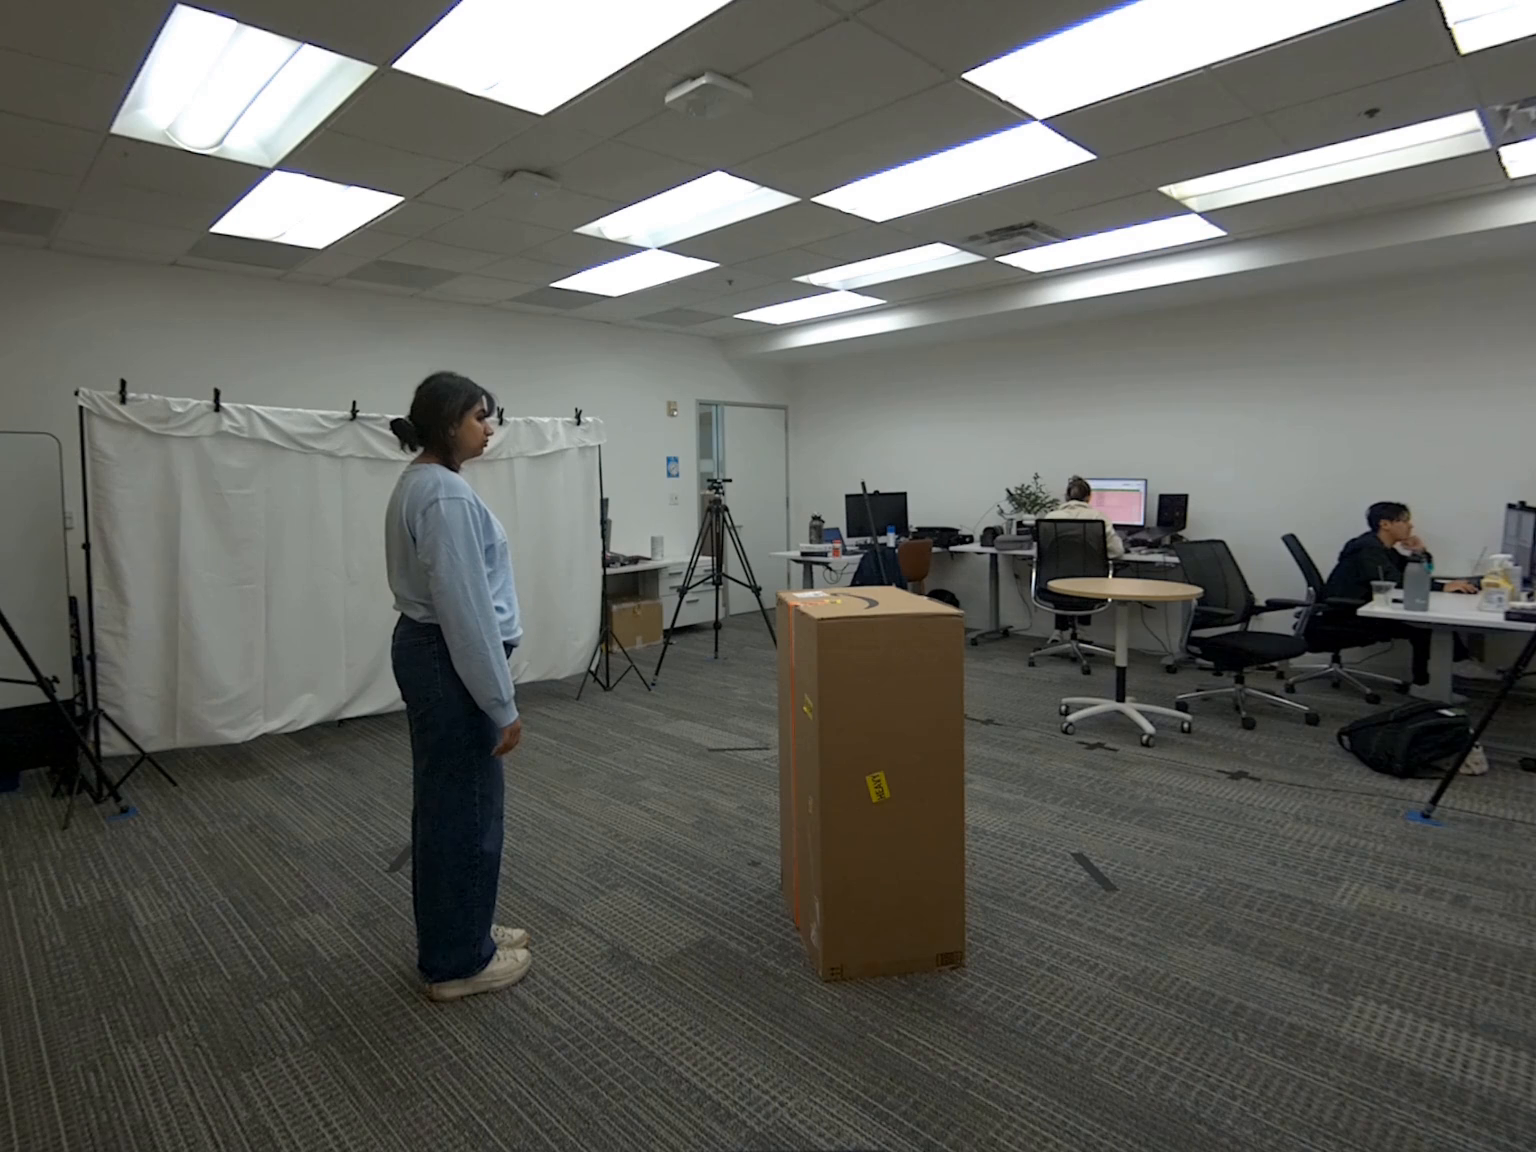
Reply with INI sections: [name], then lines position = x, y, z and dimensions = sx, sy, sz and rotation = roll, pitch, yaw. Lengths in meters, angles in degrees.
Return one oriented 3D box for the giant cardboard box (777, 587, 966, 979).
[giant cardboard box]
position = 0.296, 0.583, 2.647
dimensions = 0.443, 1.023, 0.591
rotation = -2, 5, -9
